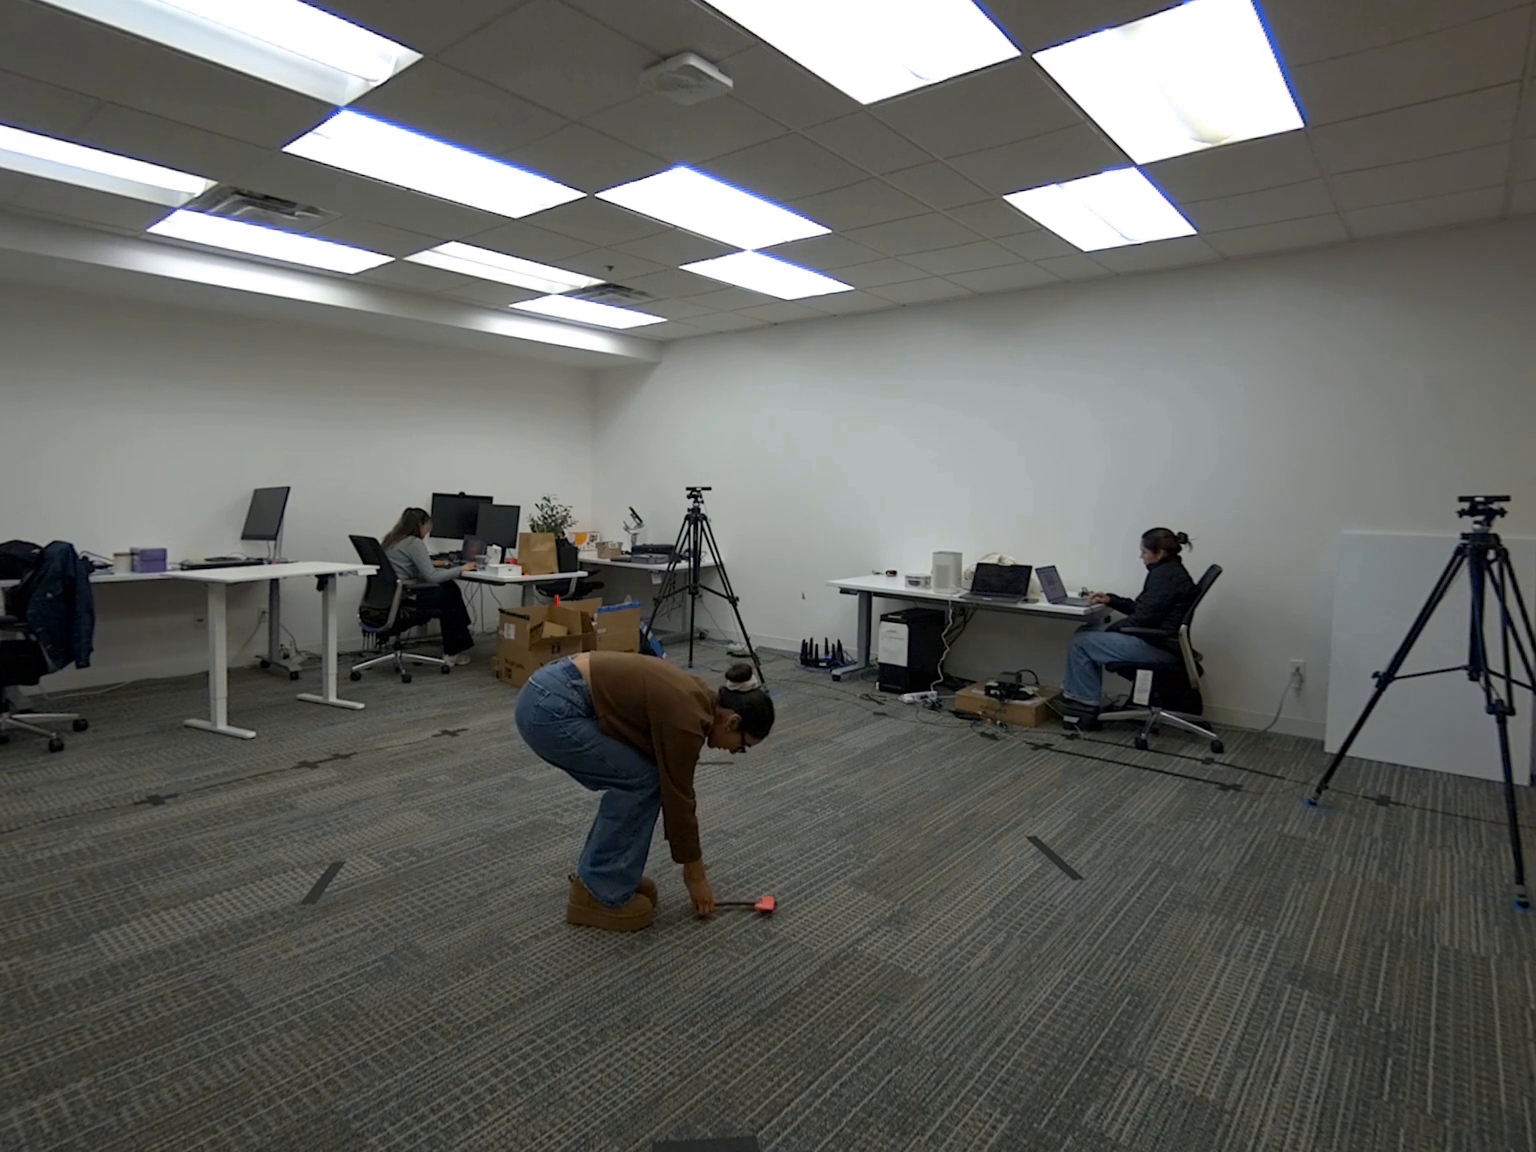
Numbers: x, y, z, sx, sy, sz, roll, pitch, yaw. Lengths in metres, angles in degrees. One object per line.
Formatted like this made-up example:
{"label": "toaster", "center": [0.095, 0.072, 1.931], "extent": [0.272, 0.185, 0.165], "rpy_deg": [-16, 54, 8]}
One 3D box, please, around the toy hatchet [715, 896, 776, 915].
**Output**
{"label": "toy hatchet", "center": [-0.100, 1.085, 2.768], "extent": [0.263, 0.029, 0.134], "rpy_deg": [1, -1, -26]}
